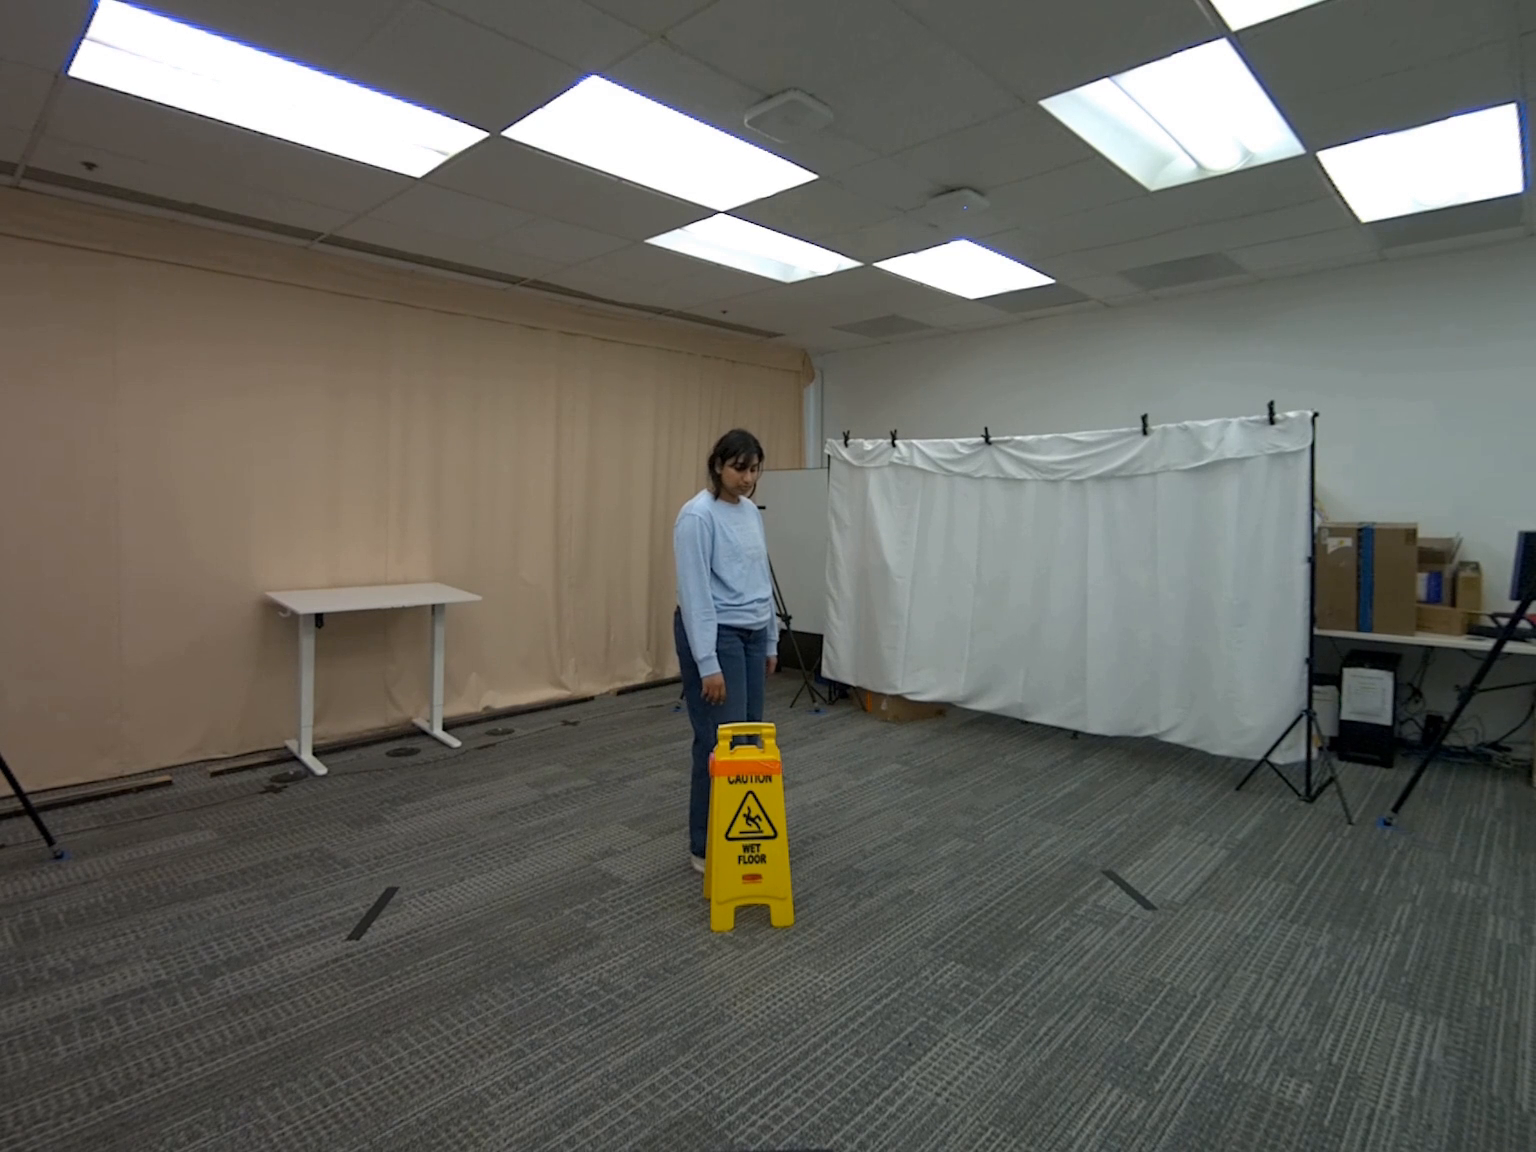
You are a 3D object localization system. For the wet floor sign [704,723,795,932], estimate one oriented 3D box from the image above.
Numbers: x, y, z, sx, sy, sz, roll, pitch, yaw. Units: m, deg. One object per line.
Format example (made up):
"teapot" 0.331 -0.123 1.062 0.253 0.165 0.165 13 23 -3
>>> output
"wet floor sign" -0.076 0.829 2.876 0.280 0.644 0.292 -1 4 -7
